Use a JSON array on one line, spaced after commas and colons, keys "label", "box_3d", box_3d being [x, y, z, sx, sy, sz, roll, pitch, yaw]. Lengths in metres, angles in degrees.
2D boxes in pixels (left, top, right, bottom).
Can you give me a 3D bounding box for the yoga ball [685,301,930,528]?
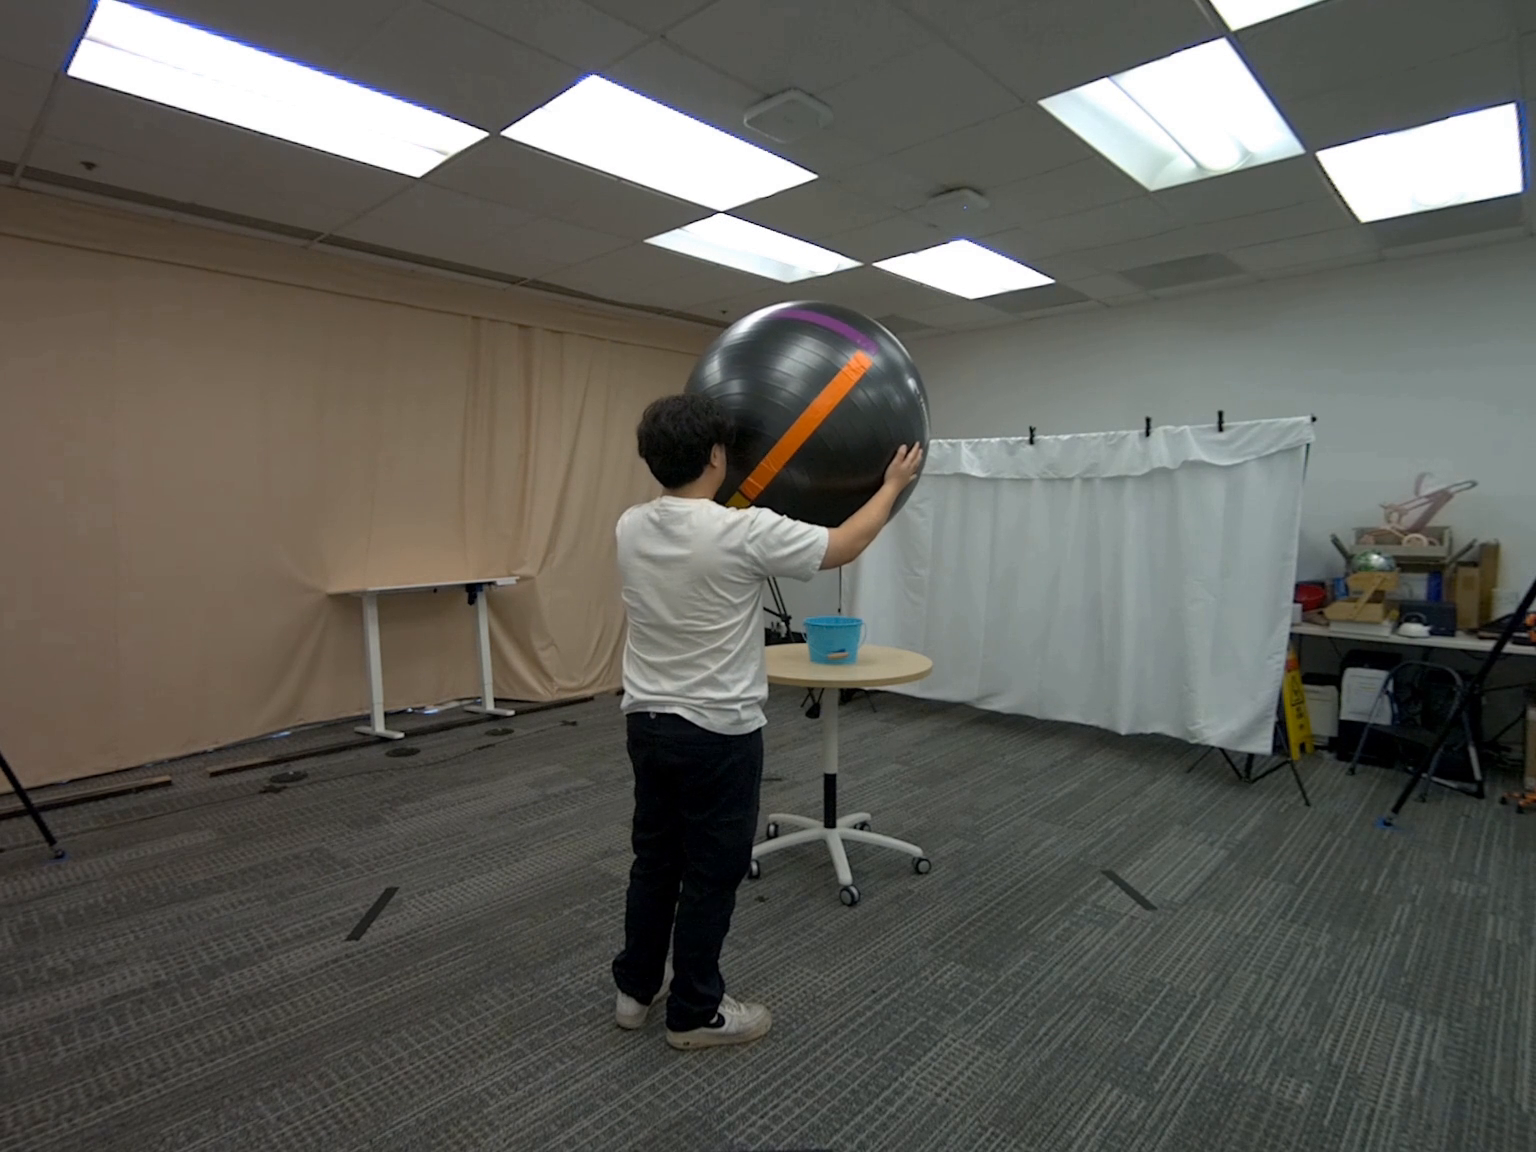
[{"label": "yoga ball", "box_3d": [0.108, -0.431, 2.555, 0.757, 0.756, 0.760, 0, 4, -2]}]
